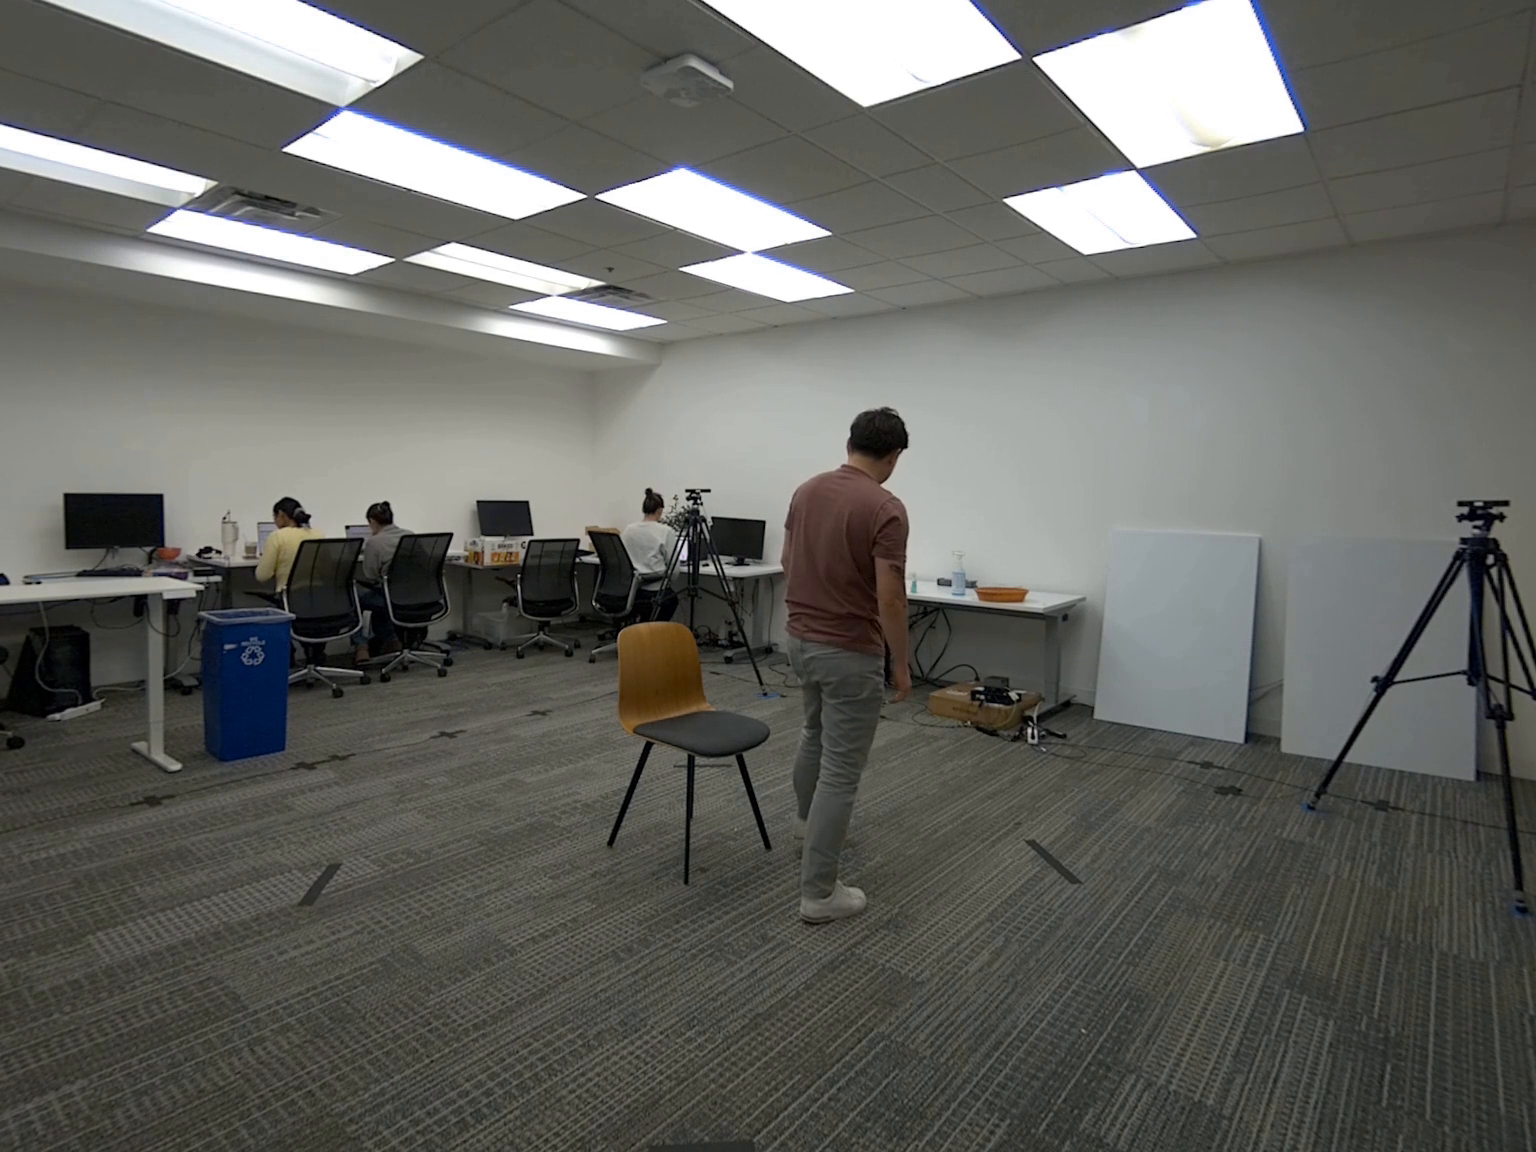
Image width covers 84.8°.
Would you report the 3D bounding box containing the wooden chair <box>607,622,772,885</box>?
[{"bbox_3d":[-0.301,0.628,3.271,0.539,0.878,0.463,-2,-1,44],"label":"wooden chair"}]
